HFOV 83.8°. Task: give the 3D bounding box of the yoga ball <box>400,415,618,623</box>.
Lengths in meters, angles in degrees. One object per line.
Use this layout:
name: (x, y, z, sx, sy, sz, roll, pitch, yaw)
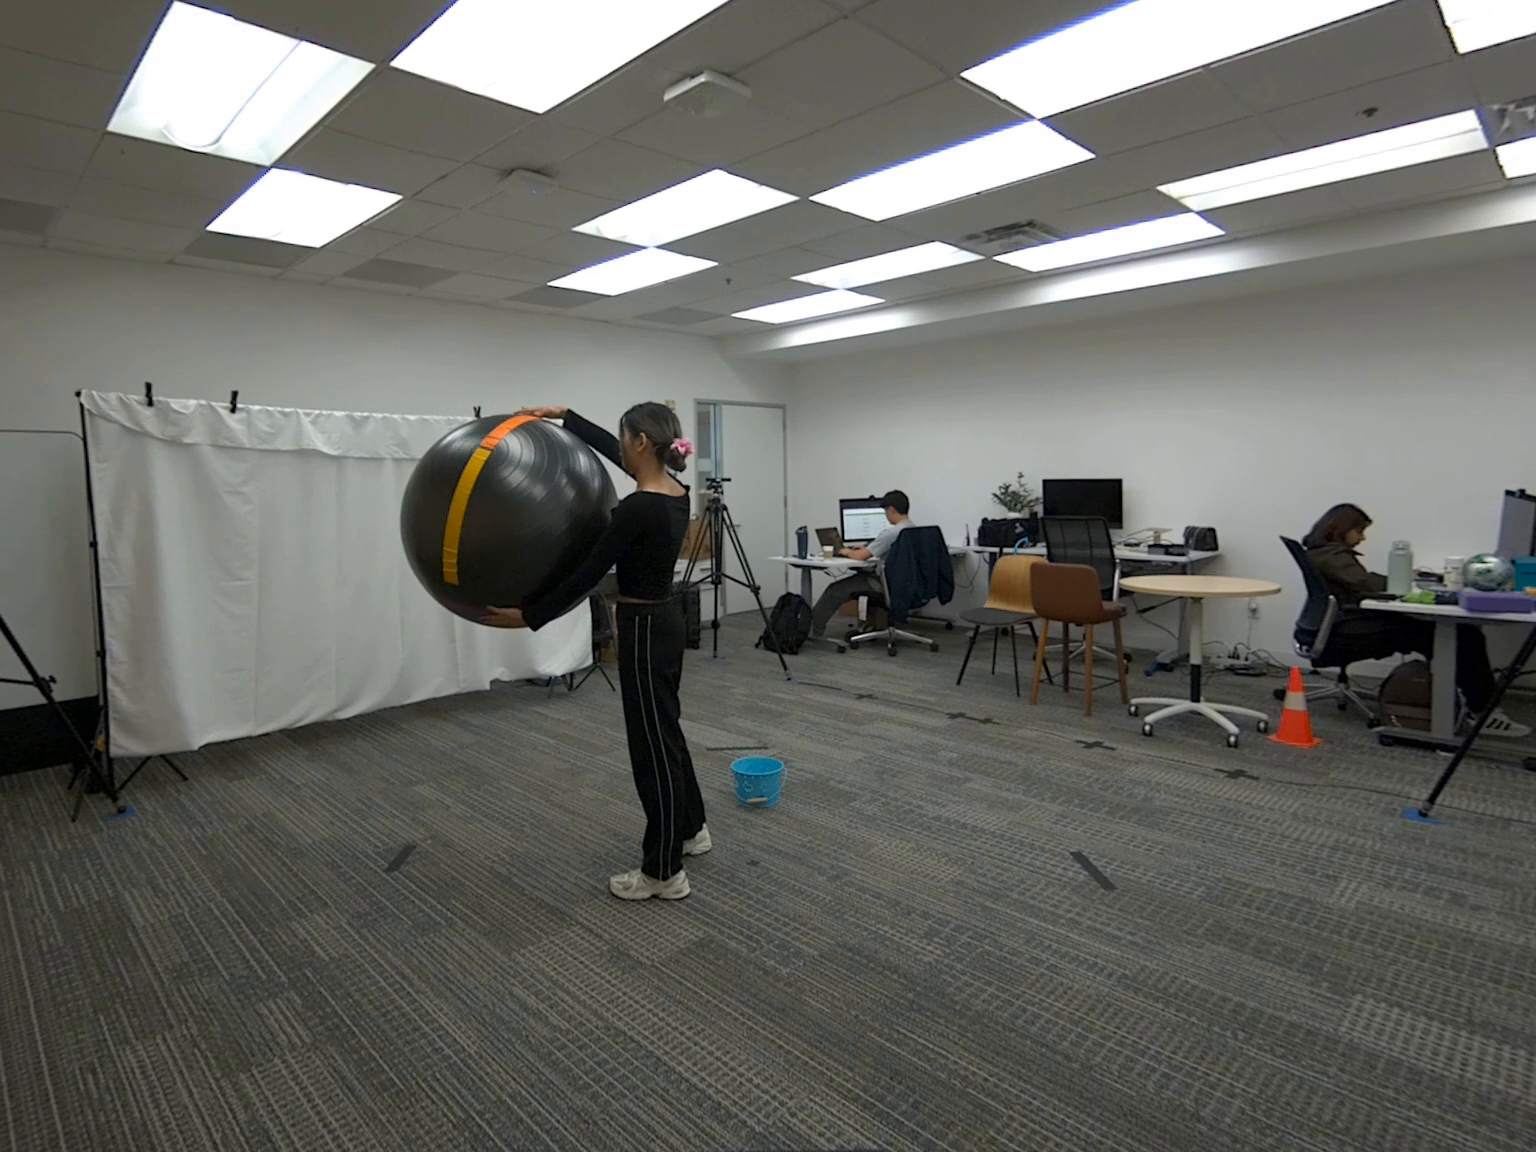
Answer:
yoga ball: (-0.902, -0.185, 3.030, 0.757, 0.755, 0.762, -1, 5, -2)
